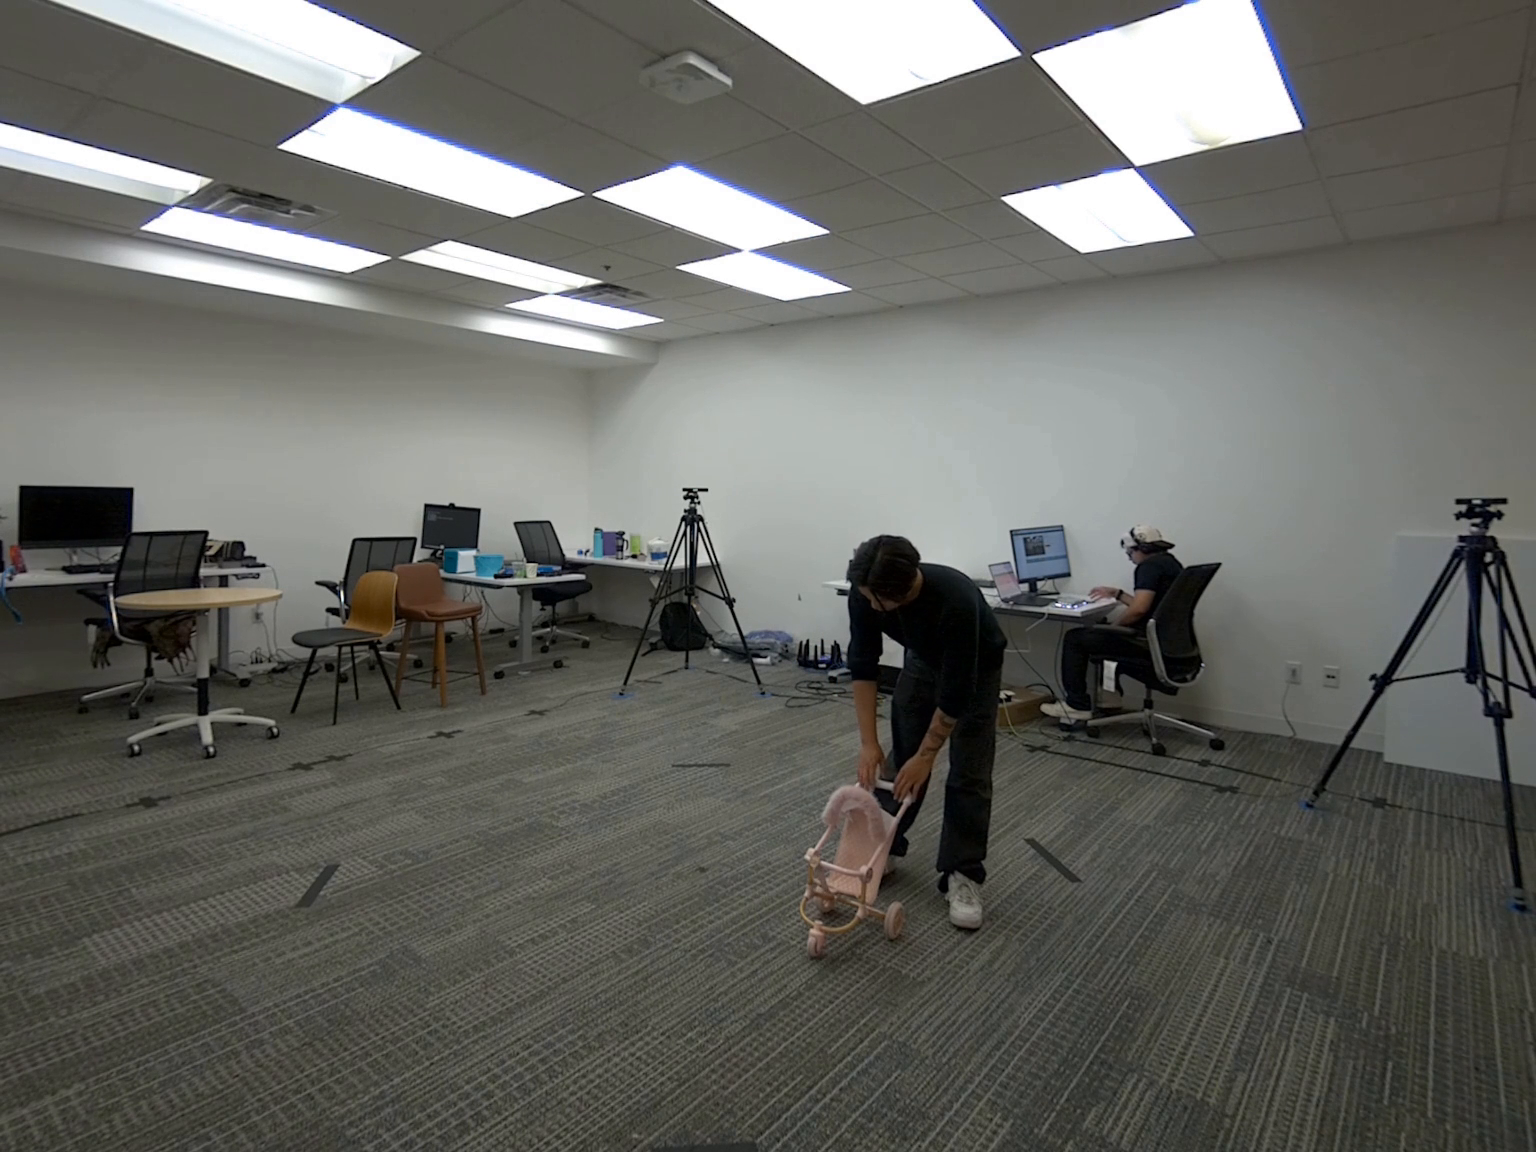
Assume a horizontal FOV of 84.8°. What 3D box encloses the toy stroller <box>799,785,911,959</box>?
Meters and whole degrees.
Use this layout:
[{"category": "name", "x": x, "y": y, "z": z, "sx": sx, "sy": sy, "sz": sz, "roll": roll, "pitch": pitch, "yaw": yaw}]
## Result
[{"category": "toy stroller", "x": 0.255, "y": 0.901, "z": 2.683, "sx": 0.291, "sy": 0.539, "sz": 0.328, "roll": 3, "pitch": -14, "yaw": 41}]
